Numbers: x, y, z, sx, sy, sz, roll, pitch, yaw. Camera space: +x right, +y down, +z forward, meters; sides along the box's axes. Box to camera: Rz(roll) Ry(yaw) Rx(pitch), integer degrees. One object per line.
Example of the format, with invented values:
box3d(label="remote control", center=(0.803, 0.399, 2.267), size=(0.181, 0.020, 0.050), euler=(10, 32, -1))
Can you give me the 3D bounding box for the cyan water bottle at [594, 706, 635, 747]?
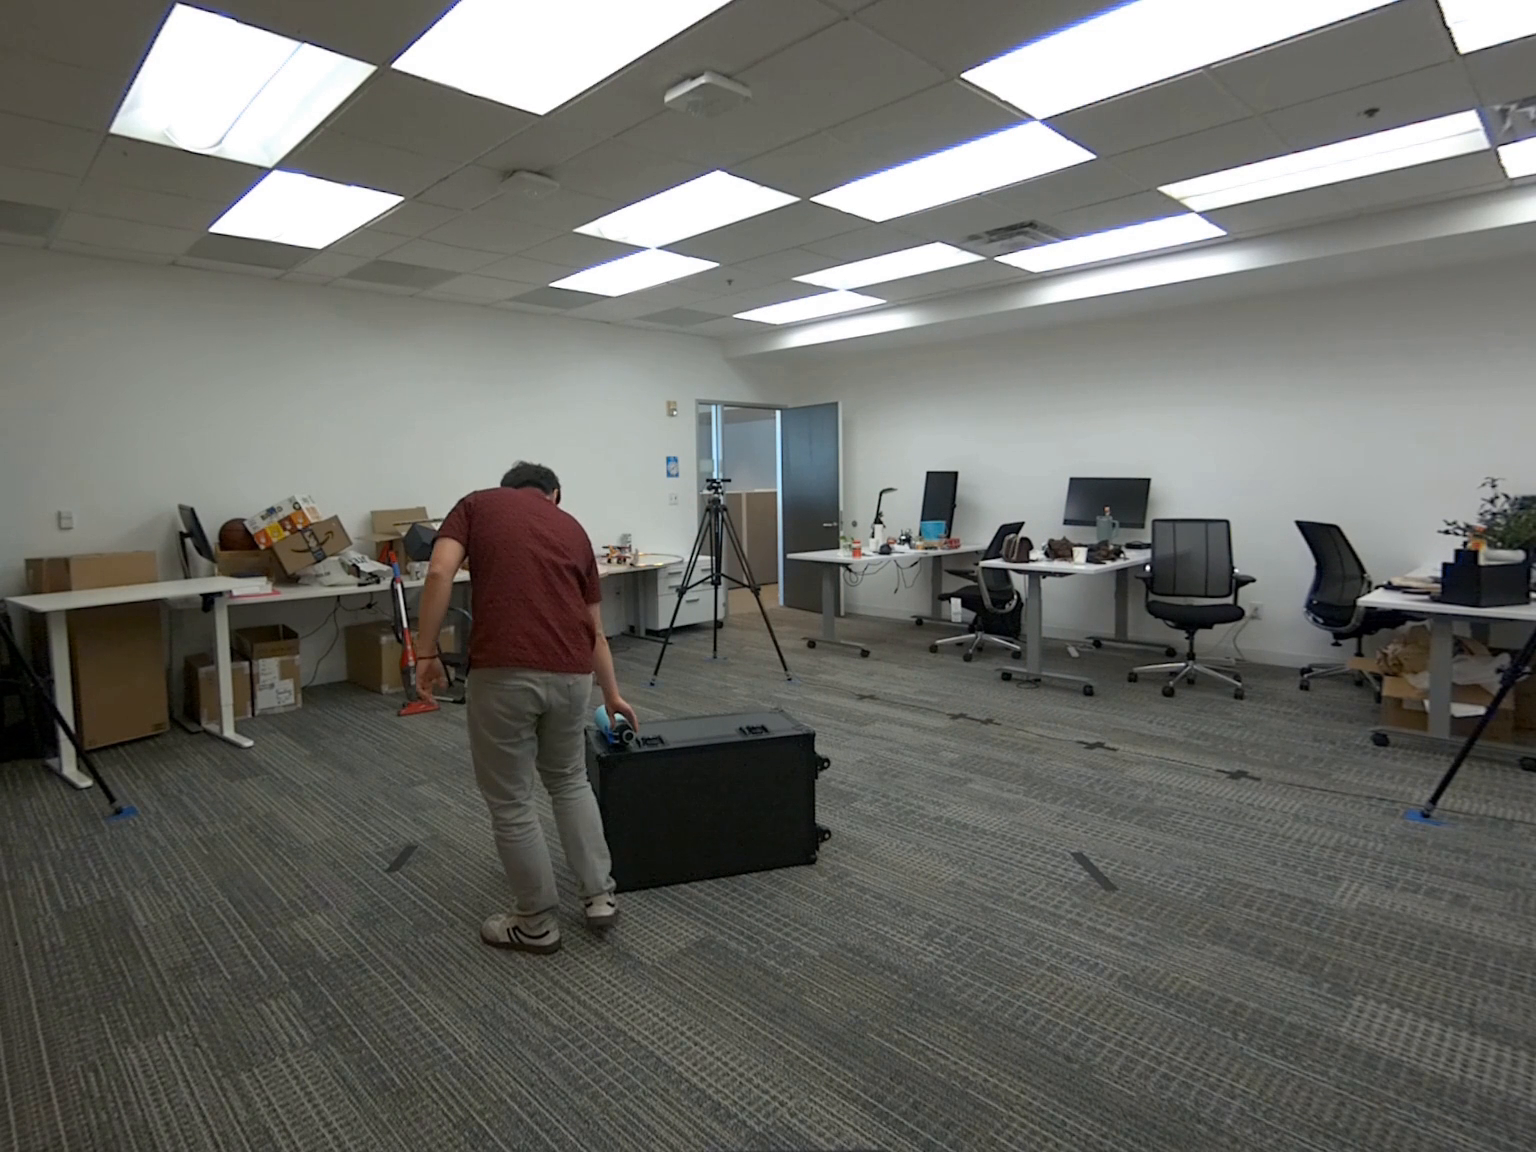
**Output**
box3d(label="cyan water bottle", center=(-0.541, 0.530, 3.035), size=(0.090, 0.092, 0.290), euler=(-3, 8, -22))
